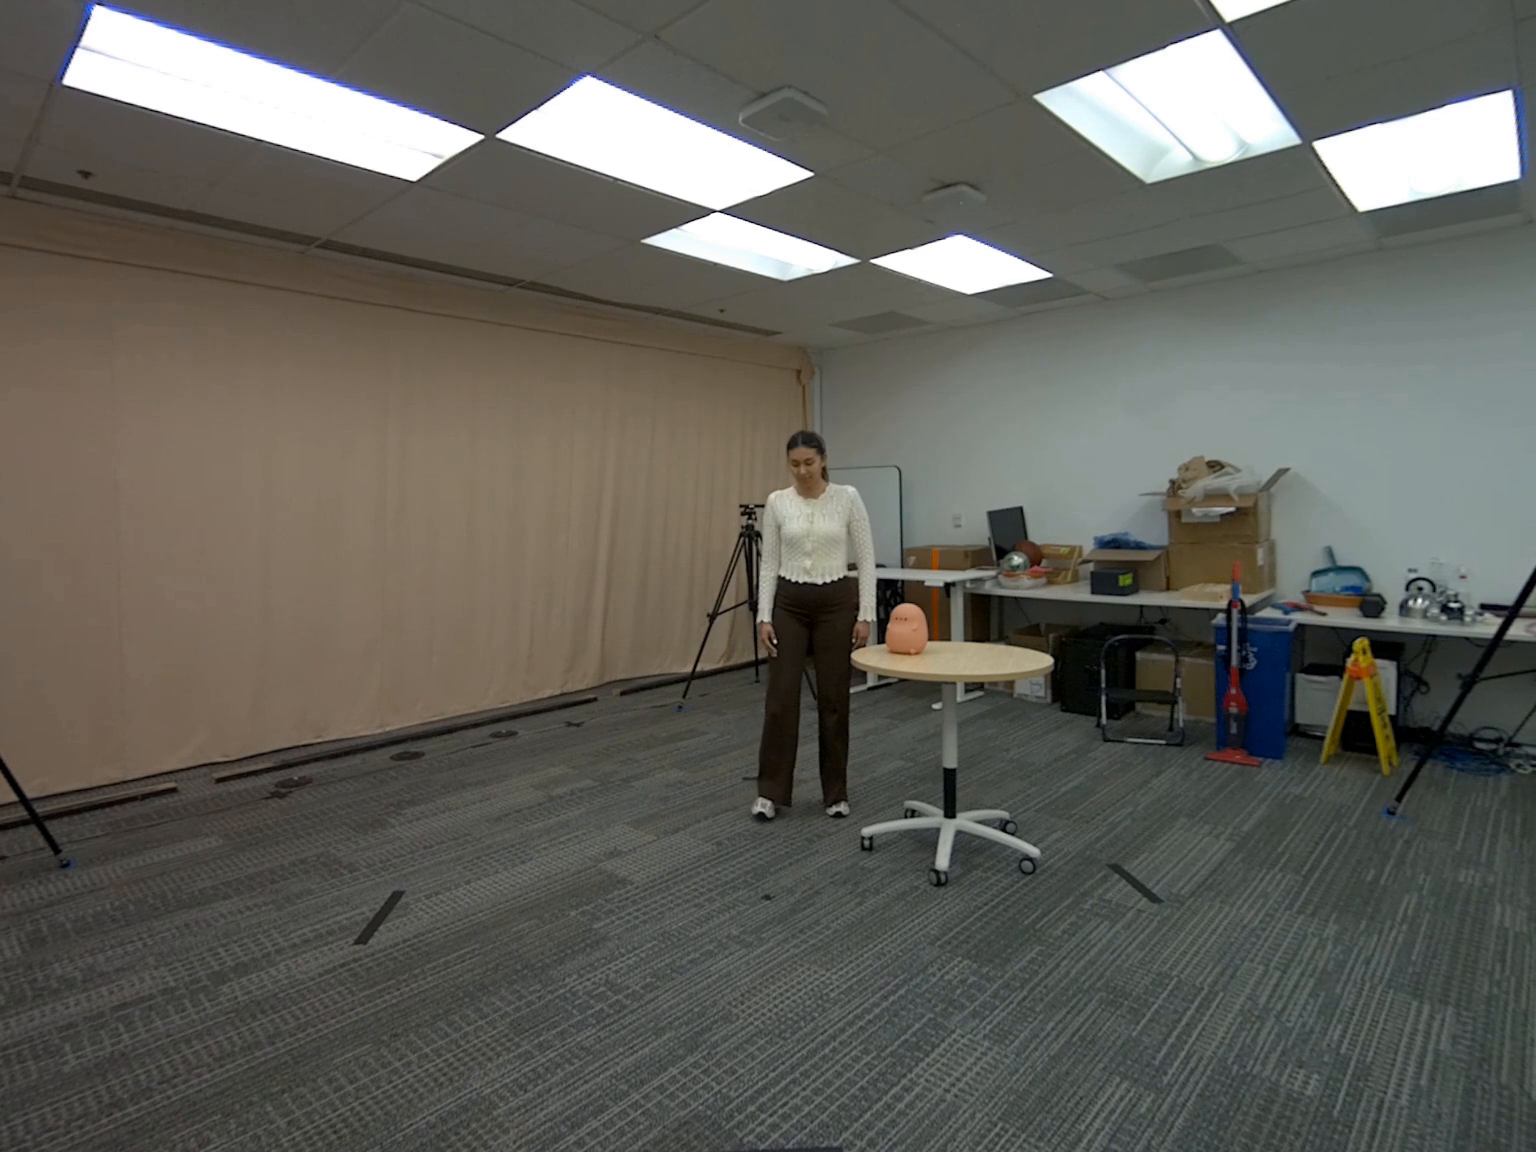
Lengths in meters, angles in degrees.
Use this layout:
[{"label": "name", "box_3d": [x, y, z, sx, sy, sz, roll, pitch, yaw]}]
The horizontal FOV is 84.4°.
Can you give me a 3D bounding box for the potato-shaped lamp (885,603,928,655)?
[{"label": "potato-shaped lamp", "box_3d": [0.571, 0.212, 3.421, 0.170, 0.198, 0.166, -3, 0, 41]}]
